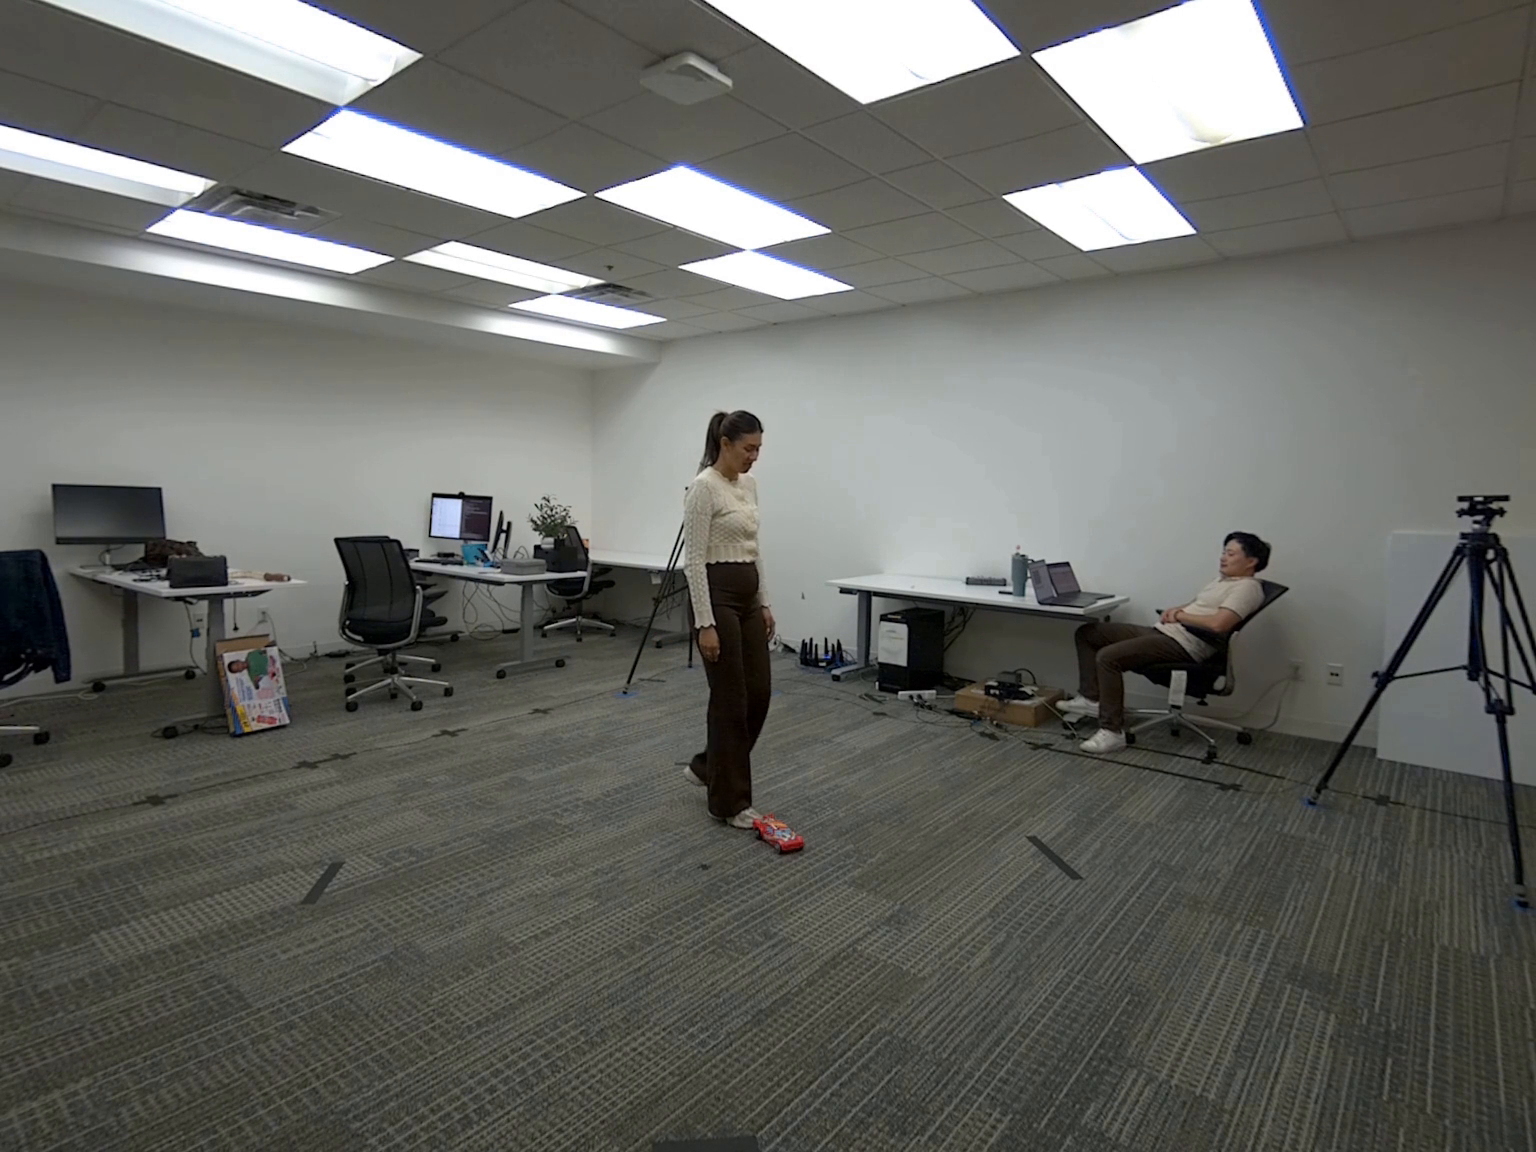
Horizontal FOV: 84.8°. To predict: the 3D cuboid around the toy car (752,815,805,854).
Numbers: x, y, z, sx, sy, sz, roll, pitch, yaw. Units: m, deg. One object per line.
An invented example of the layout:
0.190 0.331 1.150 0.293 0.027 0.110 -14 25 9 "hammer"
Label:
0.027 1.013 3.354 0.127 0.082 0.264 -2 16 -31 "toy car"
